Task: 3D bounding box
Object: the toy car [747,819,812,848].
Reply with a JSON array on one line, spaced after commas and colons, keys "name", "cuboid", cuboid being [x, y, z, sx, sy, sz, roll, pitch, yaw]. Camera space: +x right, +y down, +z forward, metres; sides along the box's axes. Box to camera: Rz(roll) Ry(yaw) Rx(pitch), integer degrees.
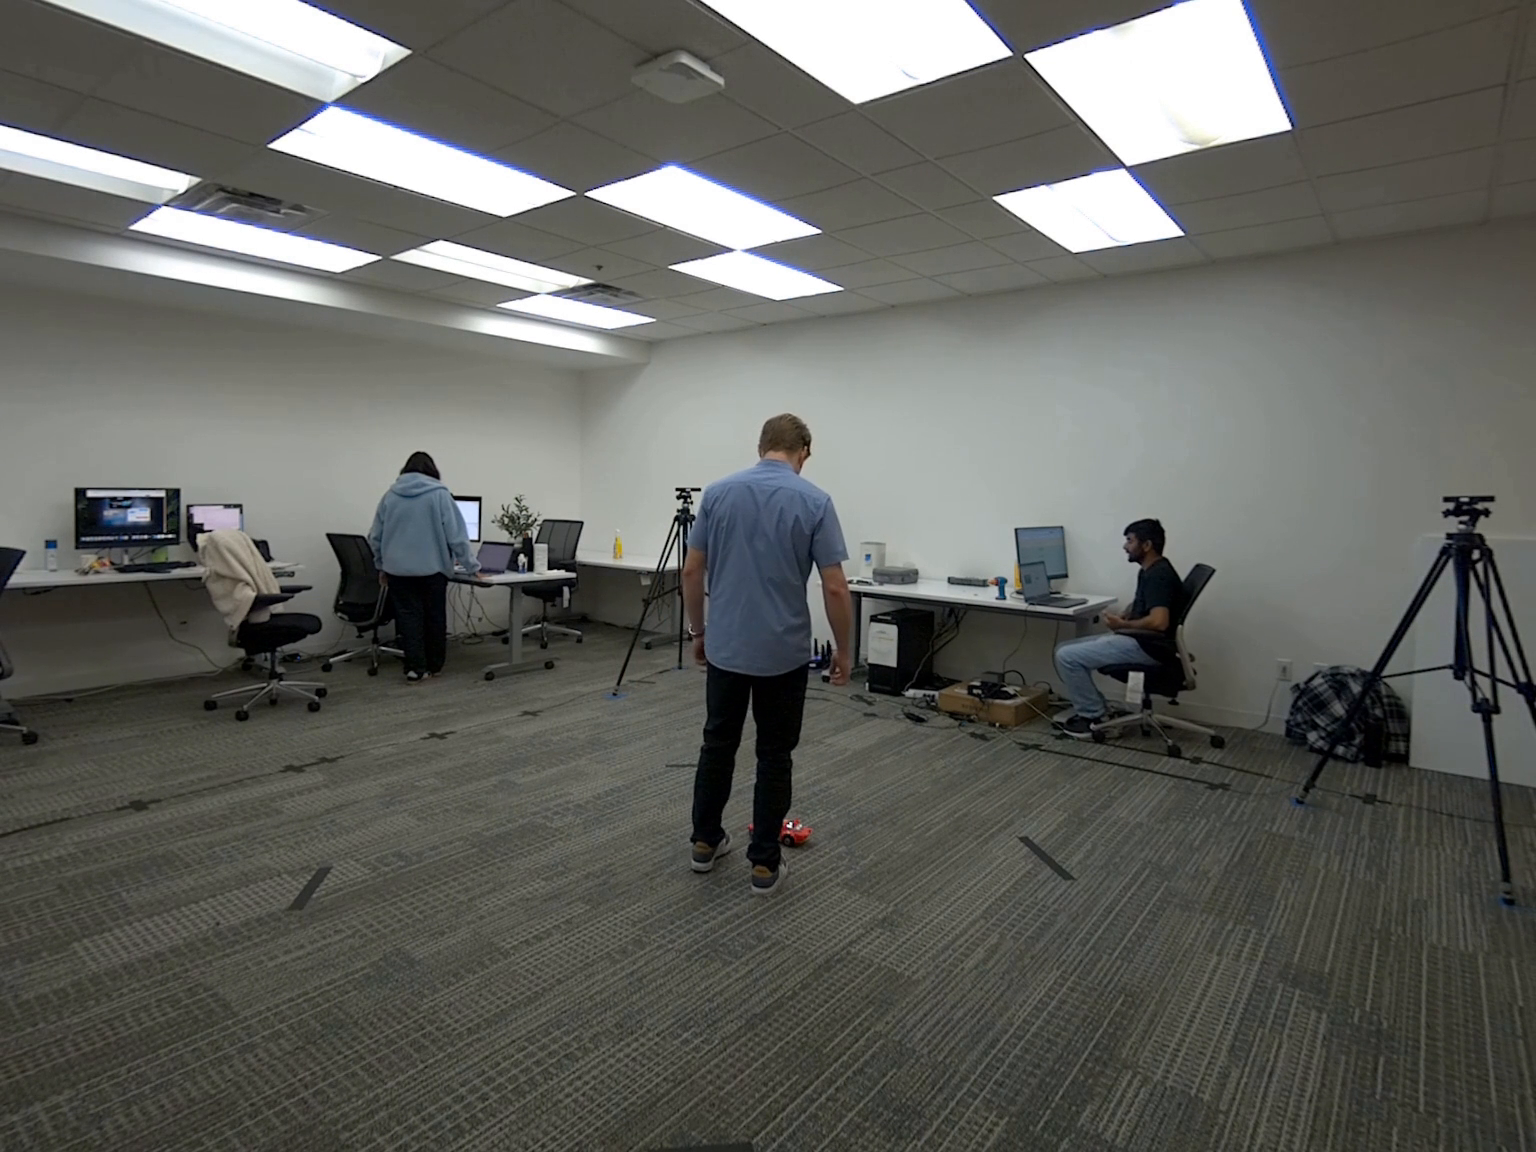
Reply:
[{"name": "toy car", "cuboid": [0.048, 1.016, 3.387, 0.260, 0.083, 0.127, -9, -1, 26]}]
